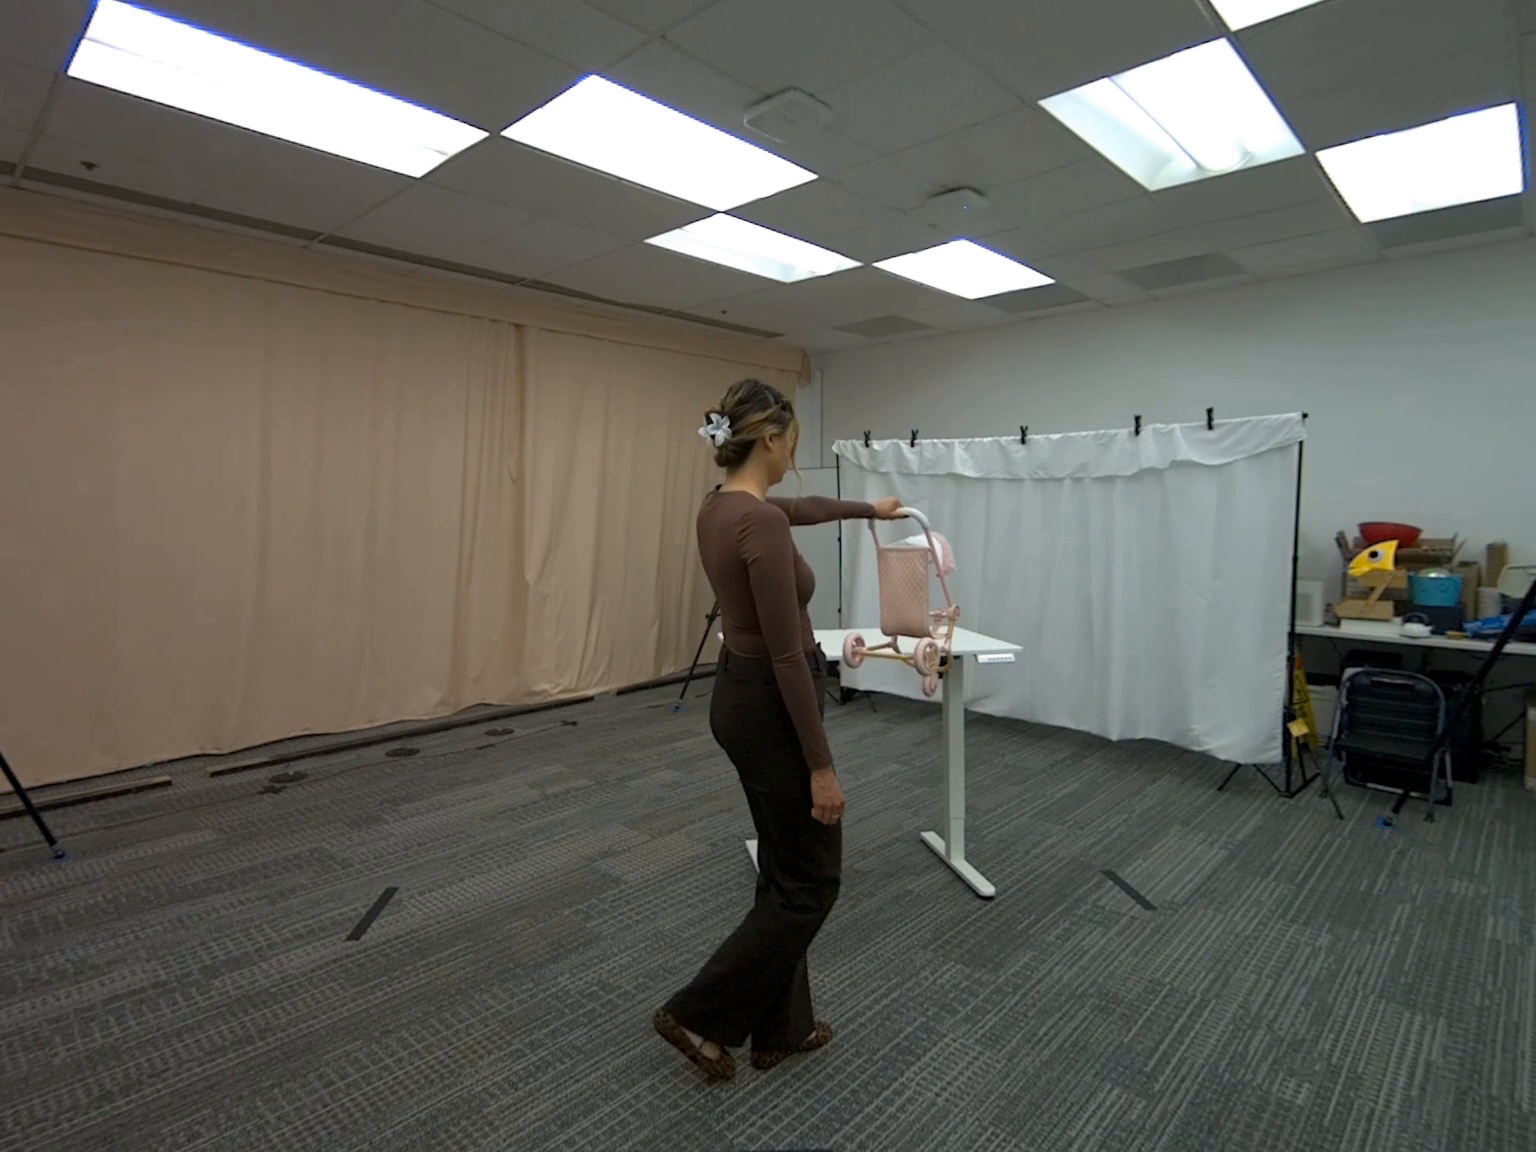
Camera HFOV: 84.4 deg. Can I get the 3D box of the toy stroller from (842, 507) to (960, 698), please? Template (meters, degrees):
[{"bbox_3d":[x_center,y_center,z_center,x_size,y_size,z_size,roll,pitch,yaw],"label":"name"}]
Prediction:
[{"bbox_3d":[0.450,0.095,2.572,0.329,0.537,0.290,14,-11,-43],"label":"toy stroller"}]
